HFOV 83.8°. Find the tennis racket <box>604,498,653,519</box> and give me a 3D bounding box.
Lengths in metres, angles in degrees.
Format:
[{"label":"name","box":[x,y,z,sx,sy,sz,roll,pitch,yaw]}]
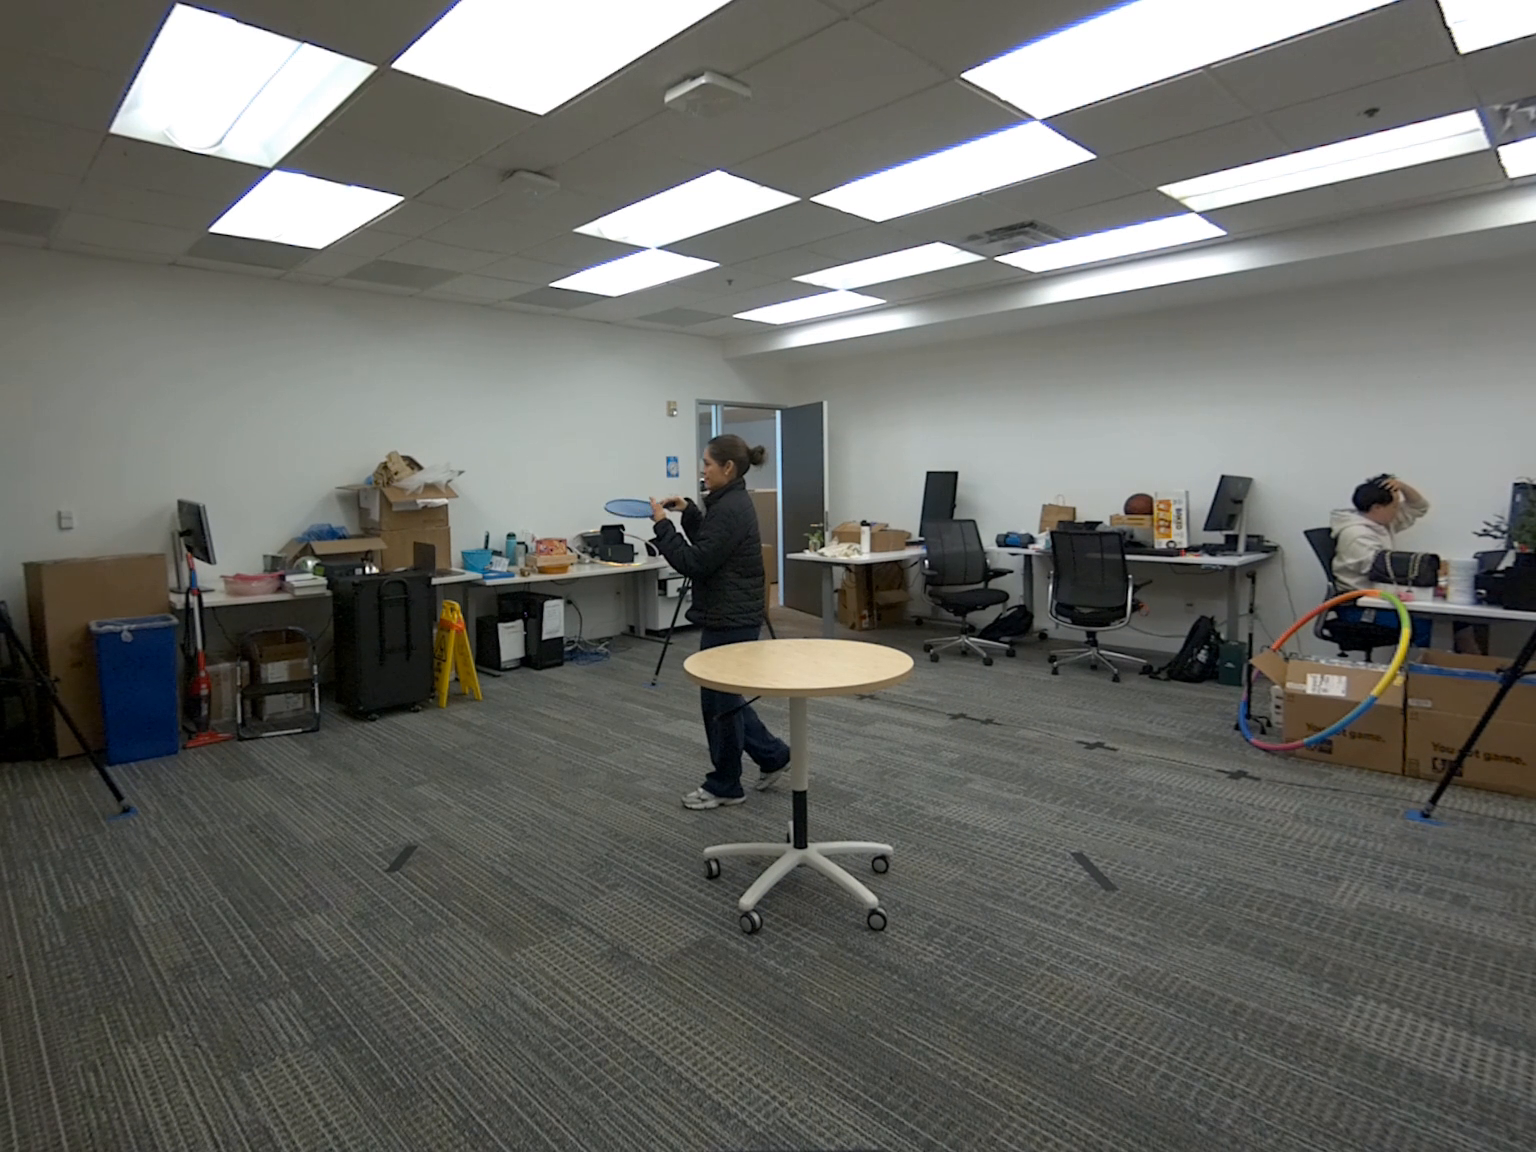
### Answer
[{"label":"tennis racket","box":[-0.525,-0.308,3.734,0.221,0.031,0.424,26,25,31]}]
